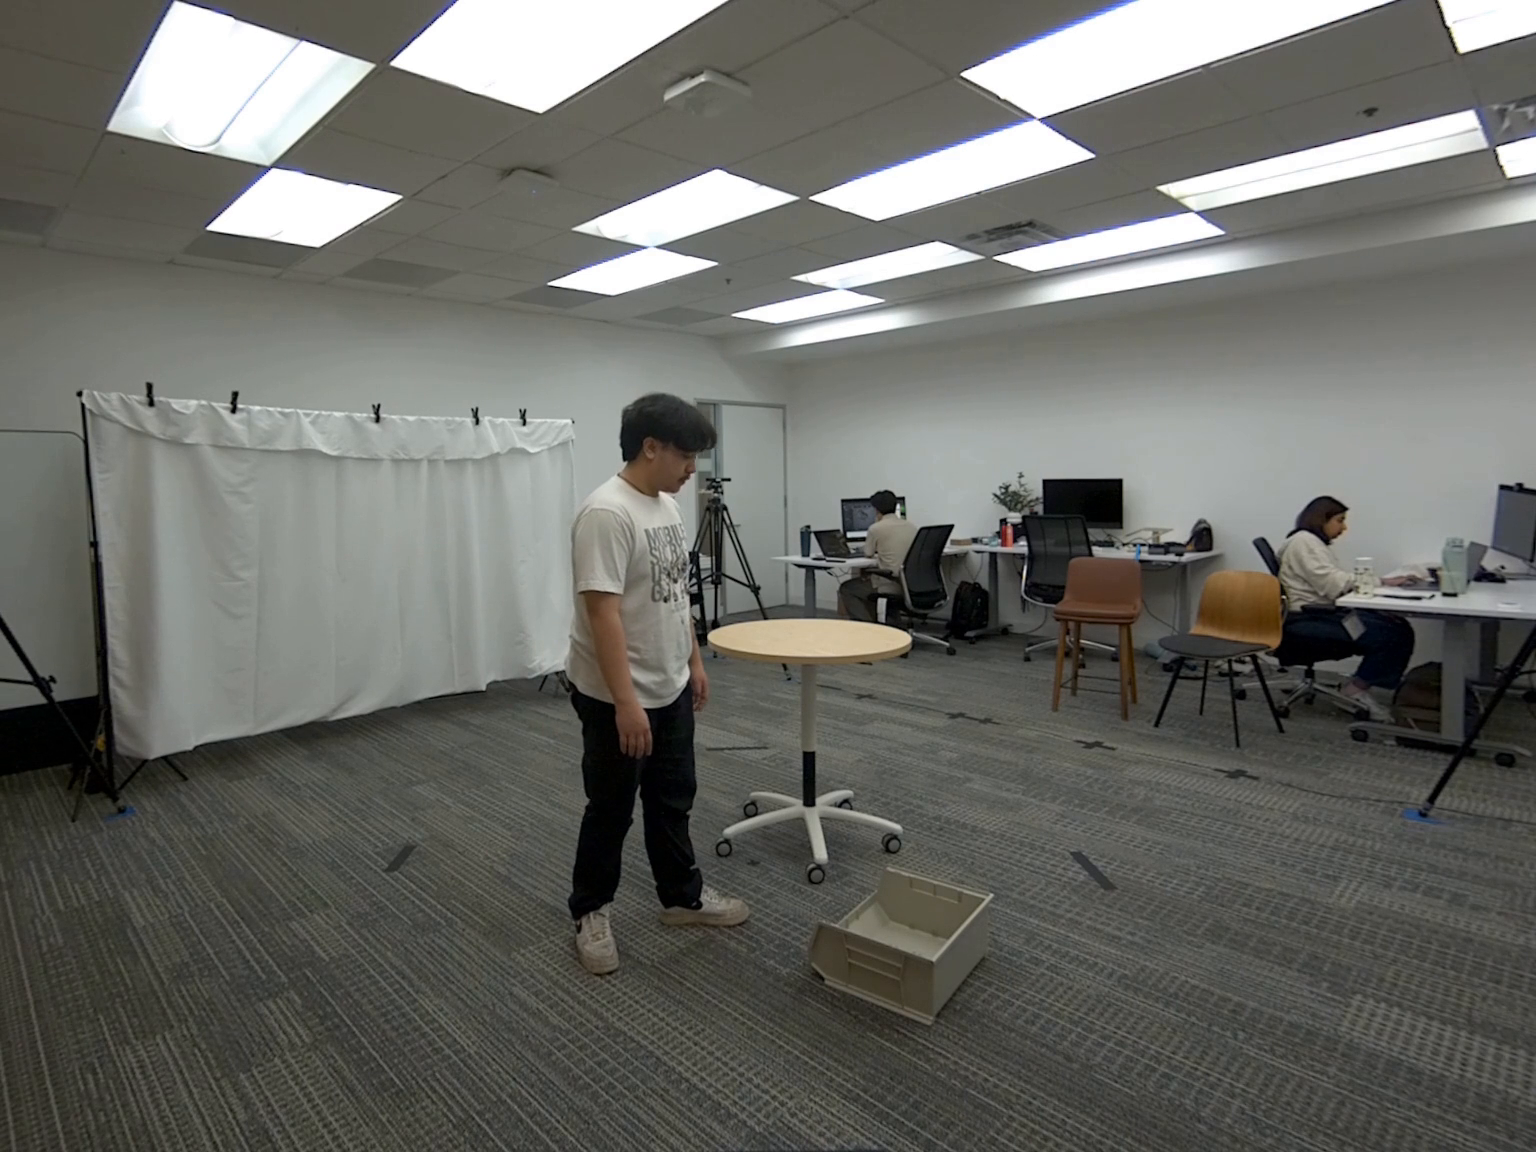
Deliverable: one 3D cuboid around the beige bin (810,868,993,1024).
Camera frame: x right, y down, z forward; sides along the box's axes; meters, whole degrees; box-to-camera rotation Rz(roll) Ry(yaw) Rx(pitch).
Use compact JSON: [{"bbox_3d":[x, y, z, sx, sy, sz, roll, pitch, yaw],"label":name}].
[{"bbox_3d":[0.382,1.019,2.432,0.388,0.188,0.412,4,7,35],"label":"beige bin"}]
